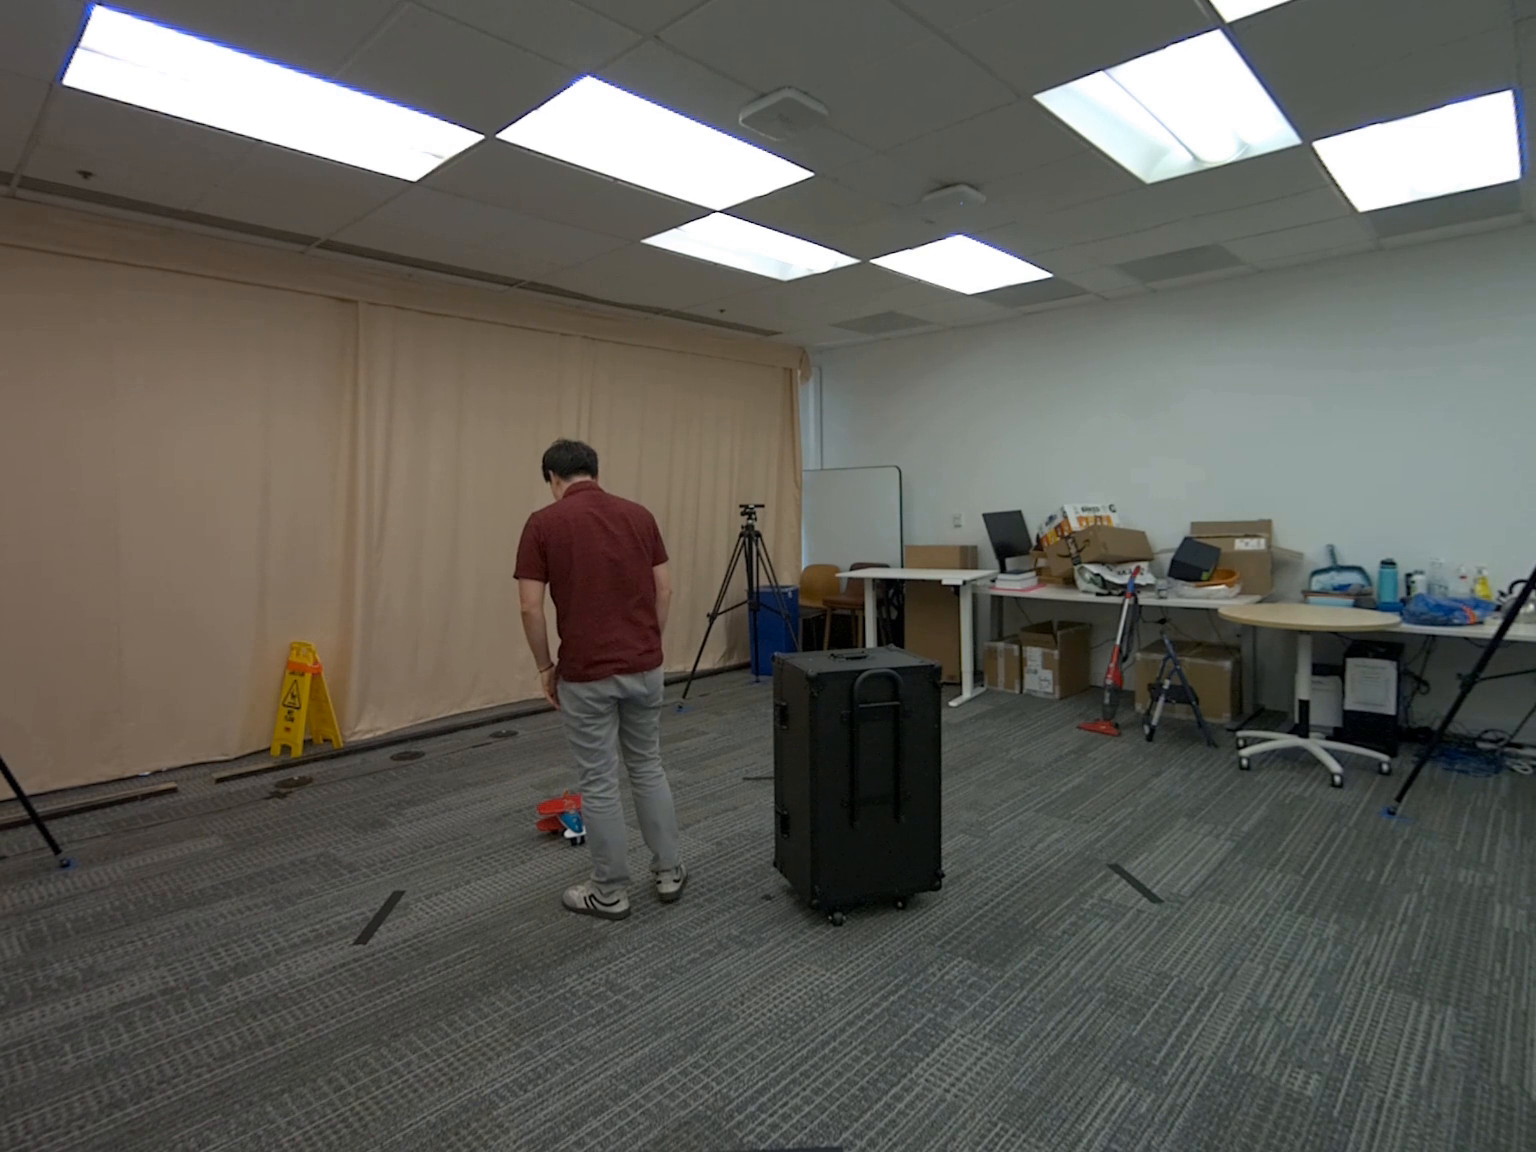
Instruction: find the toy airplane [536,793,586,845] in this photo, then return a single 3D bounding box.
[{"bbox_3d":[-0.832,1.037,3.588,0.266,0.156,0.244,0,5,30],"label":"toy airplane"}]
